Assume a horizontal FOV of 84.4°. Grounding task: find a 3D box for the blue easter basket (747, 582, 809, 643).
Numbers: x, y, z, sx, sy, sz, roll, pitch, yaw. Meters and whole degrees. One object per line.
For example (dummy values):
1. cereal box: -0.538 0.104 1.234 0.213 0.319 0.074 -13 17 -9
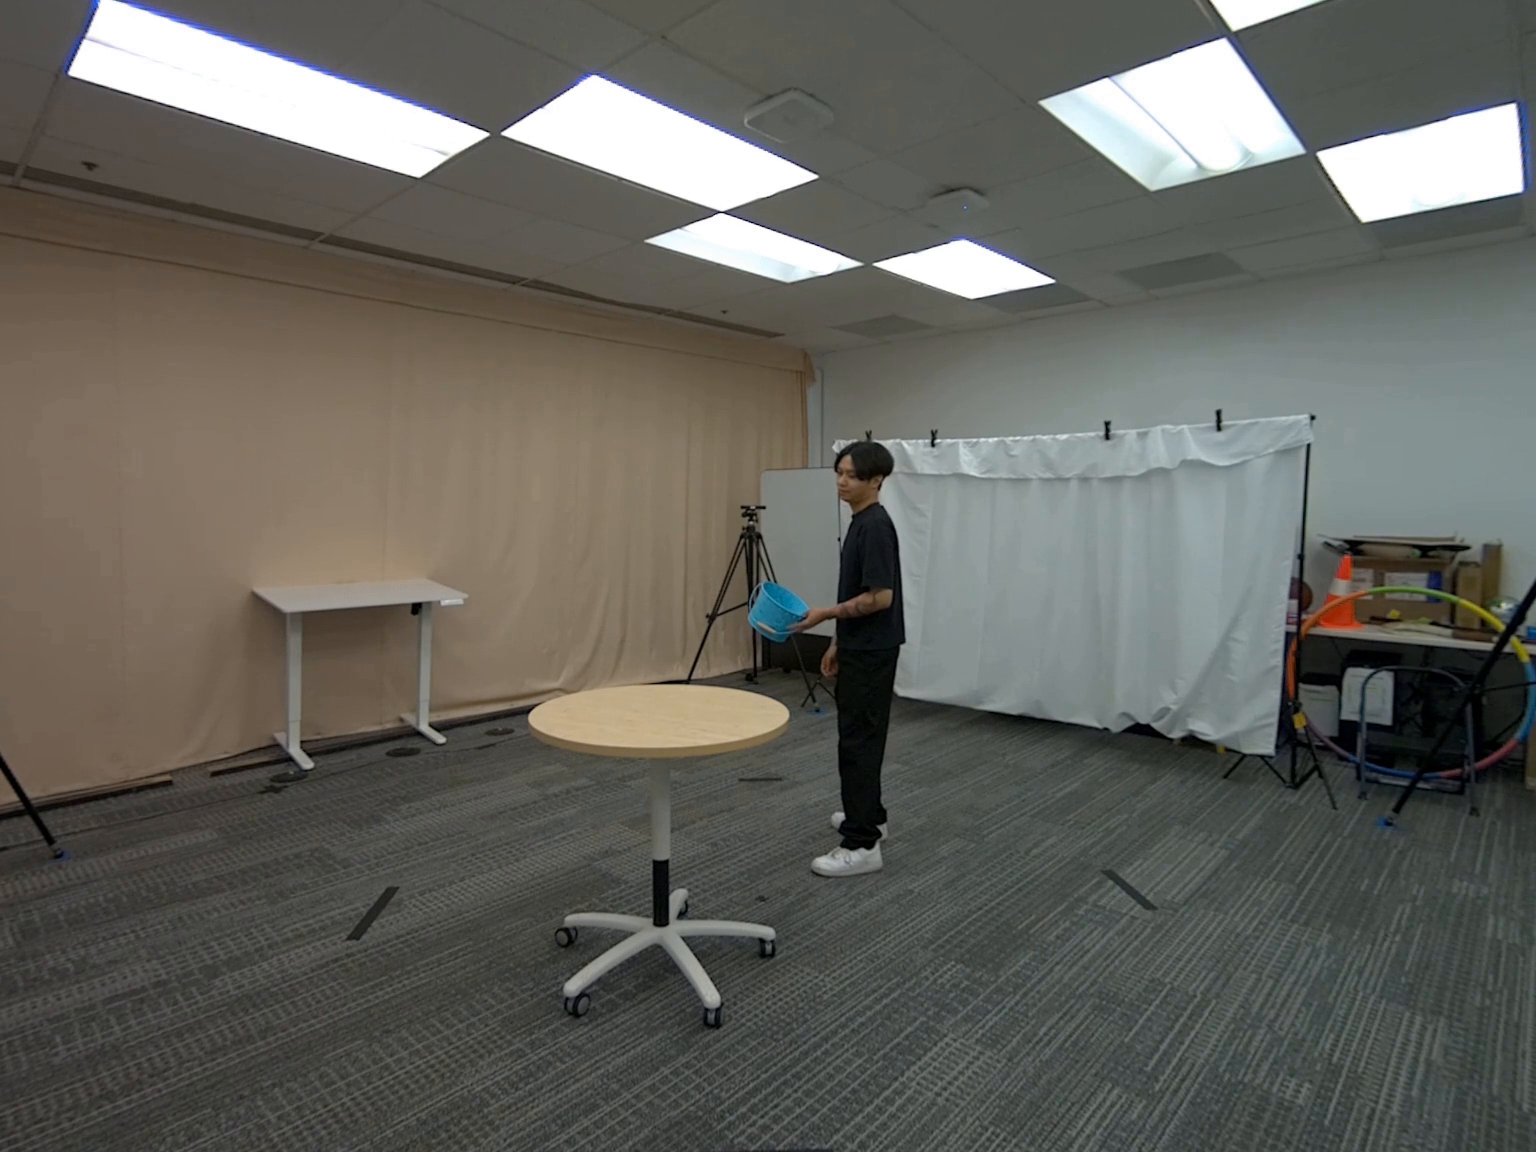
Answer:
1. blue easter basket: 0.041 0.149 3.430 0.241 0.156 0.246 29 15 -11
